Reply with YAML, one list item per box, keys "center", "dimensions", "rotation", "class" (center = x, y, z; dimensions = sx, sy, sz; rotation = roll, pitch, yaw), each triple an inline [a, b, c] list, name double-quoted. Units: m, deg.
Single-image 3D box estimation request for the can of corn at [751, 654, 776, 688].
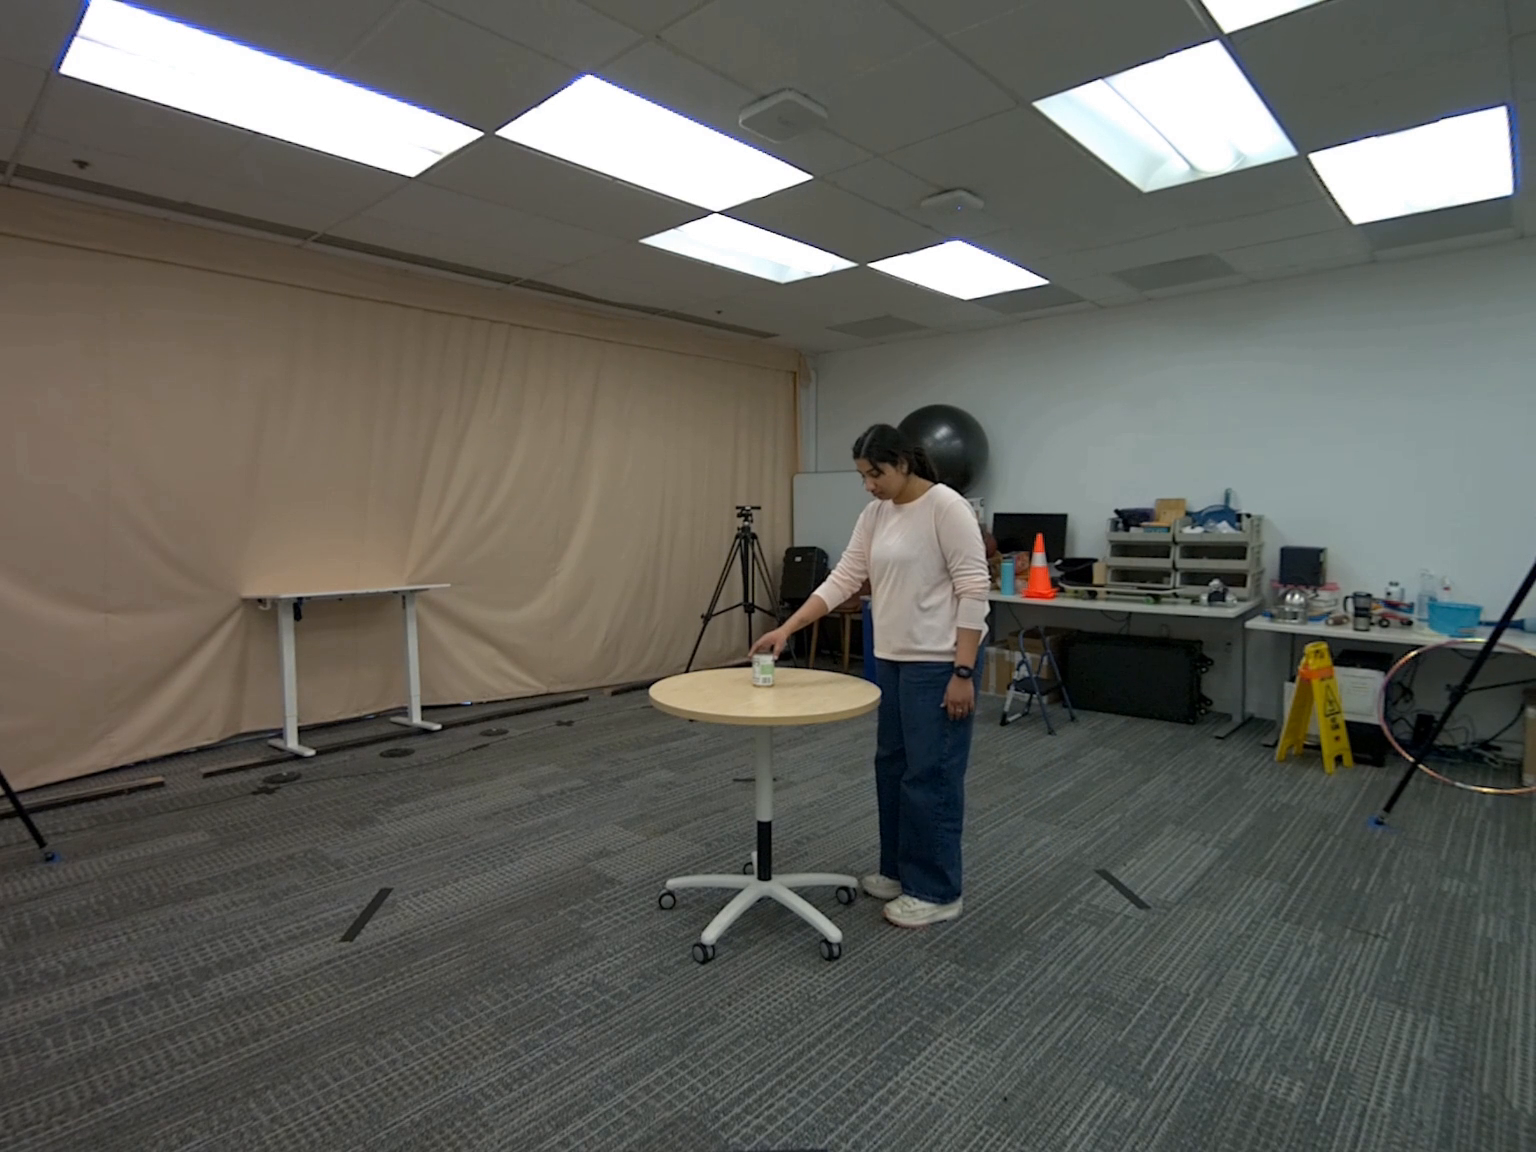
- center: [-0.007, 0.319, 2.858]
  dimensions: [0.074, 0.111, 0.074]
  rotation: [2, -2, -2]
  class: "can of corn"
